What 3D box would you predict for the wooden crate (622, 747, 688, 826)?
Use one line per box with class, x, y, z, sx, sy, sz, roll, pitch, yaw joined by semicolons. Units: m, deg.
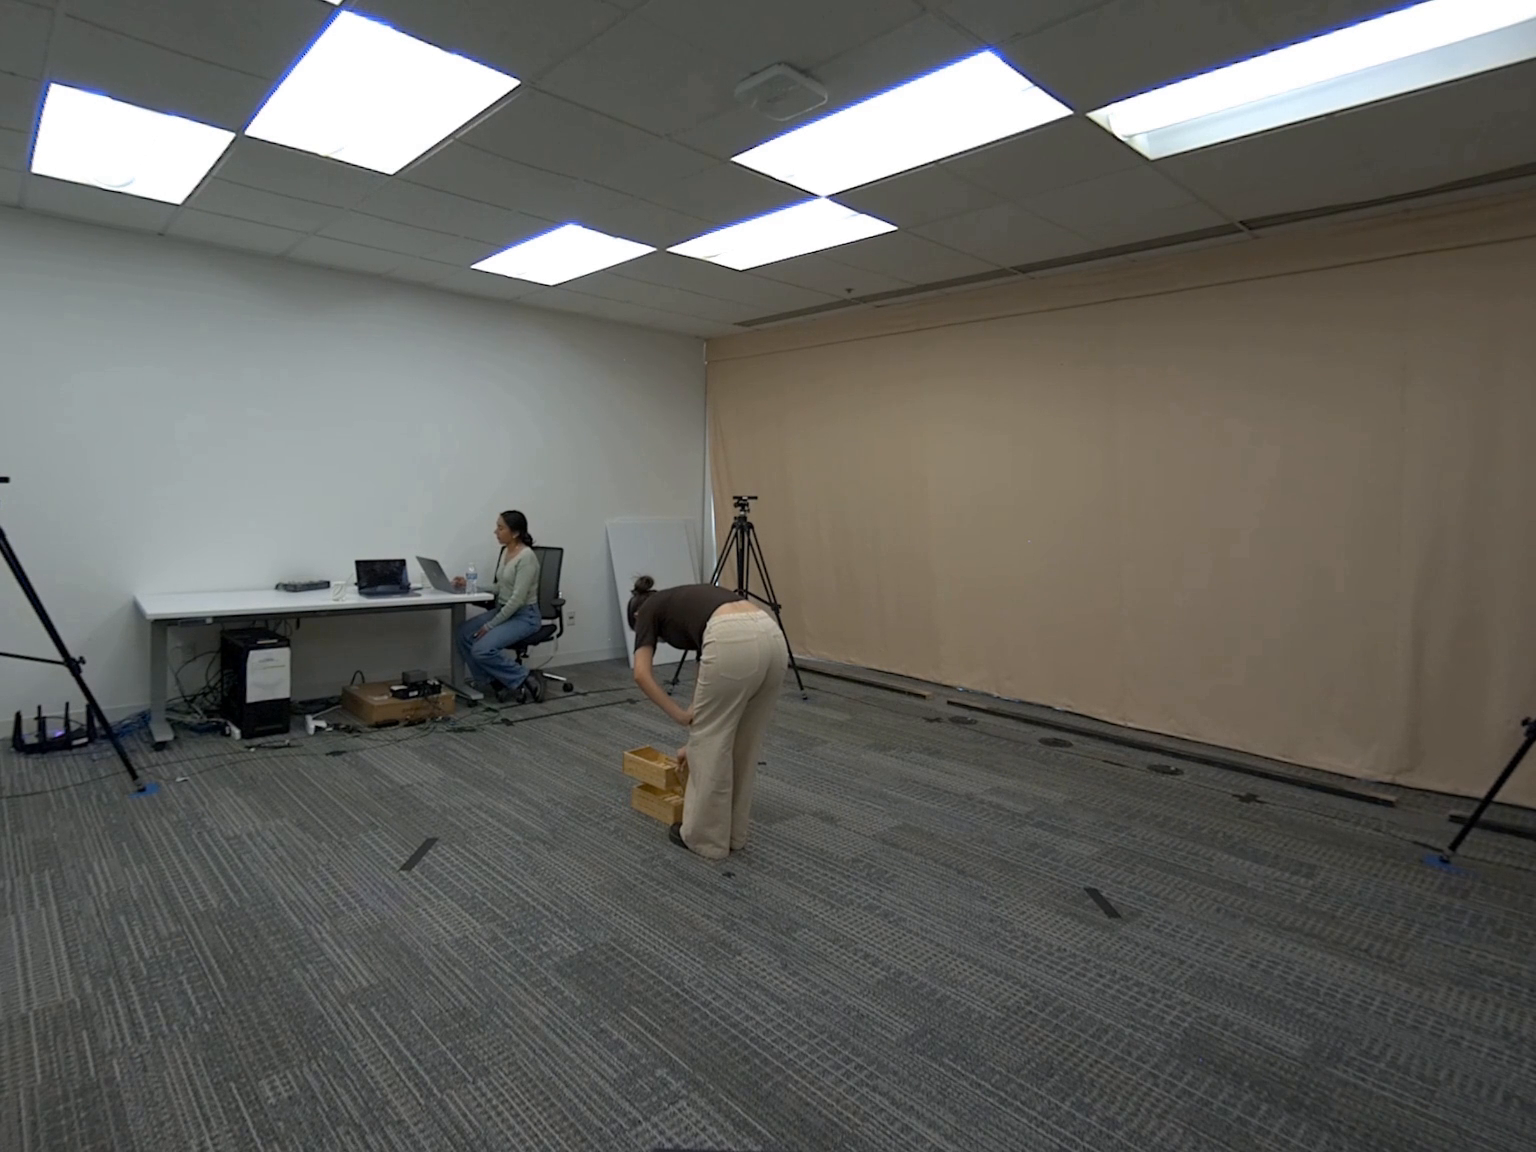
wooden crate;-0.440;0.906;3.717;0.295;0.272;0.333;-4;7;-44
